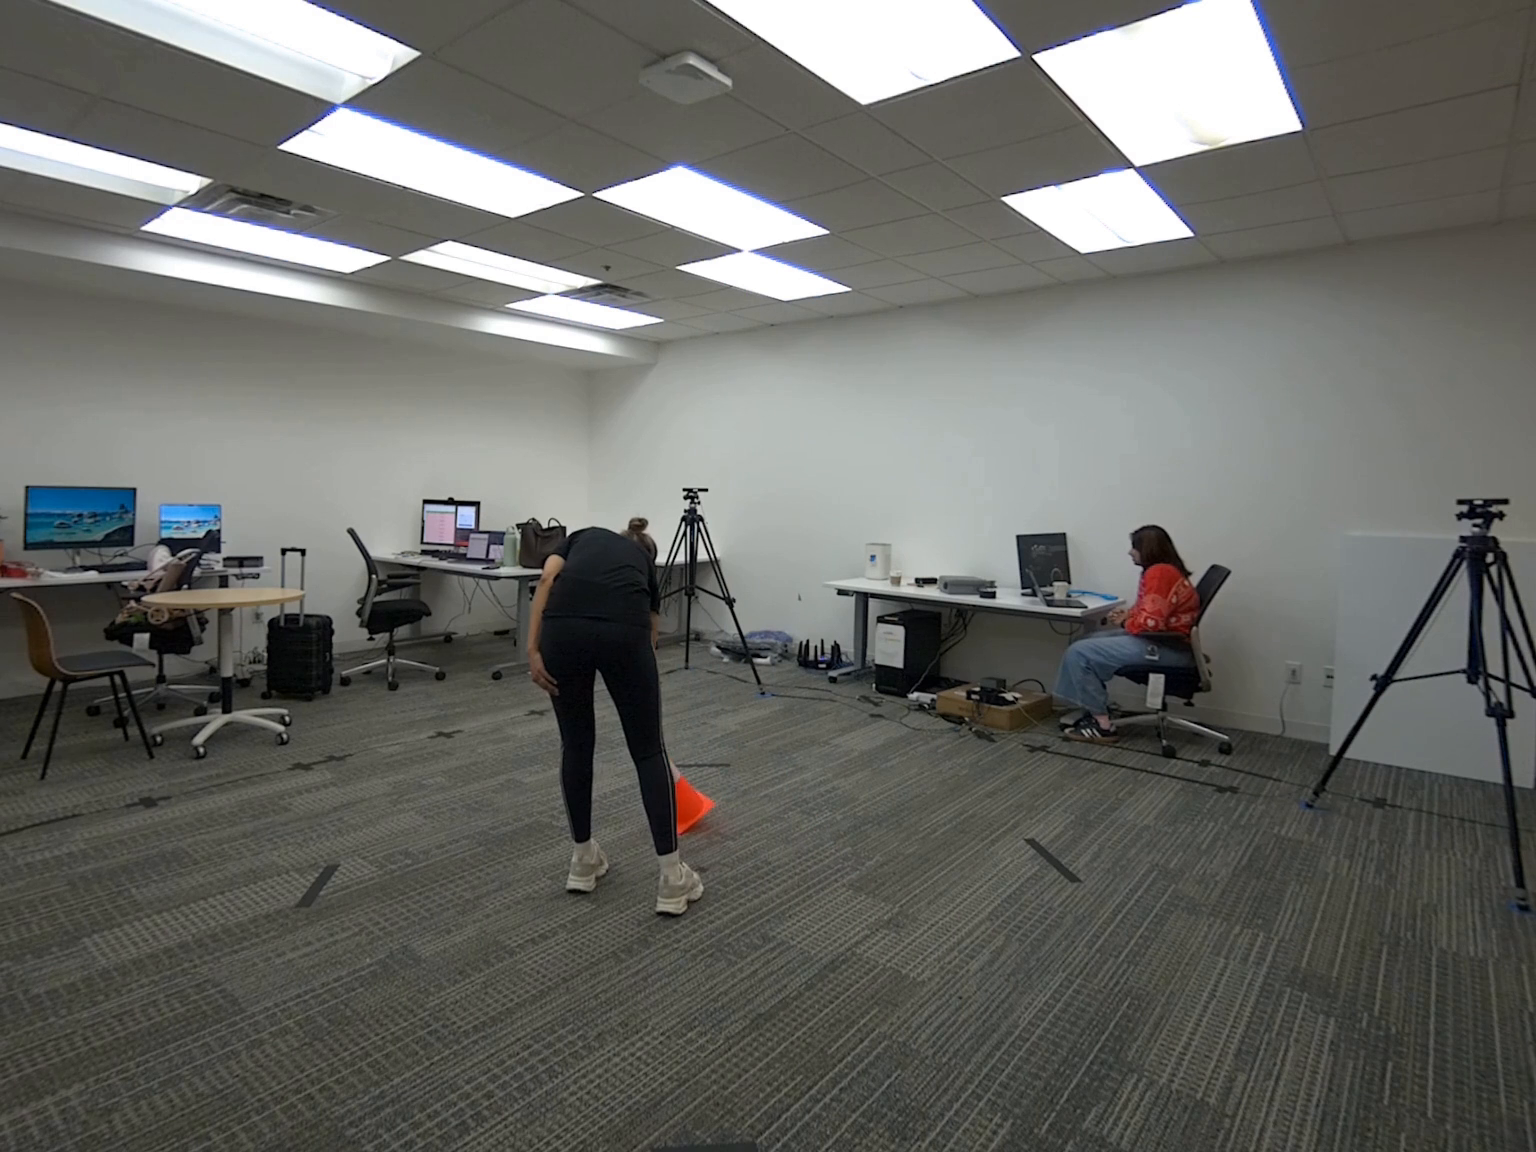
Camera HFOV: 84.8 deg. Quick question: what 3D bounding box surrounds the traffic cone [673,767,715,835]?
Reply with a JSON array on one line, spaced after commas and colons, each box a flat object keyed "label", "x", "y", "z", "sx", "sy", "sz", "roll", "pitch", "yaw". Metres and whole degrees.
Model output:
[{"label": "traffic cone", "x": -0.426, "y": 0.823, "z": 3.498, "sx": 0.203, "sy": 0.378, "sz": 0.208, "roll": -31, "pitch": 13, "yaw": -23}]
